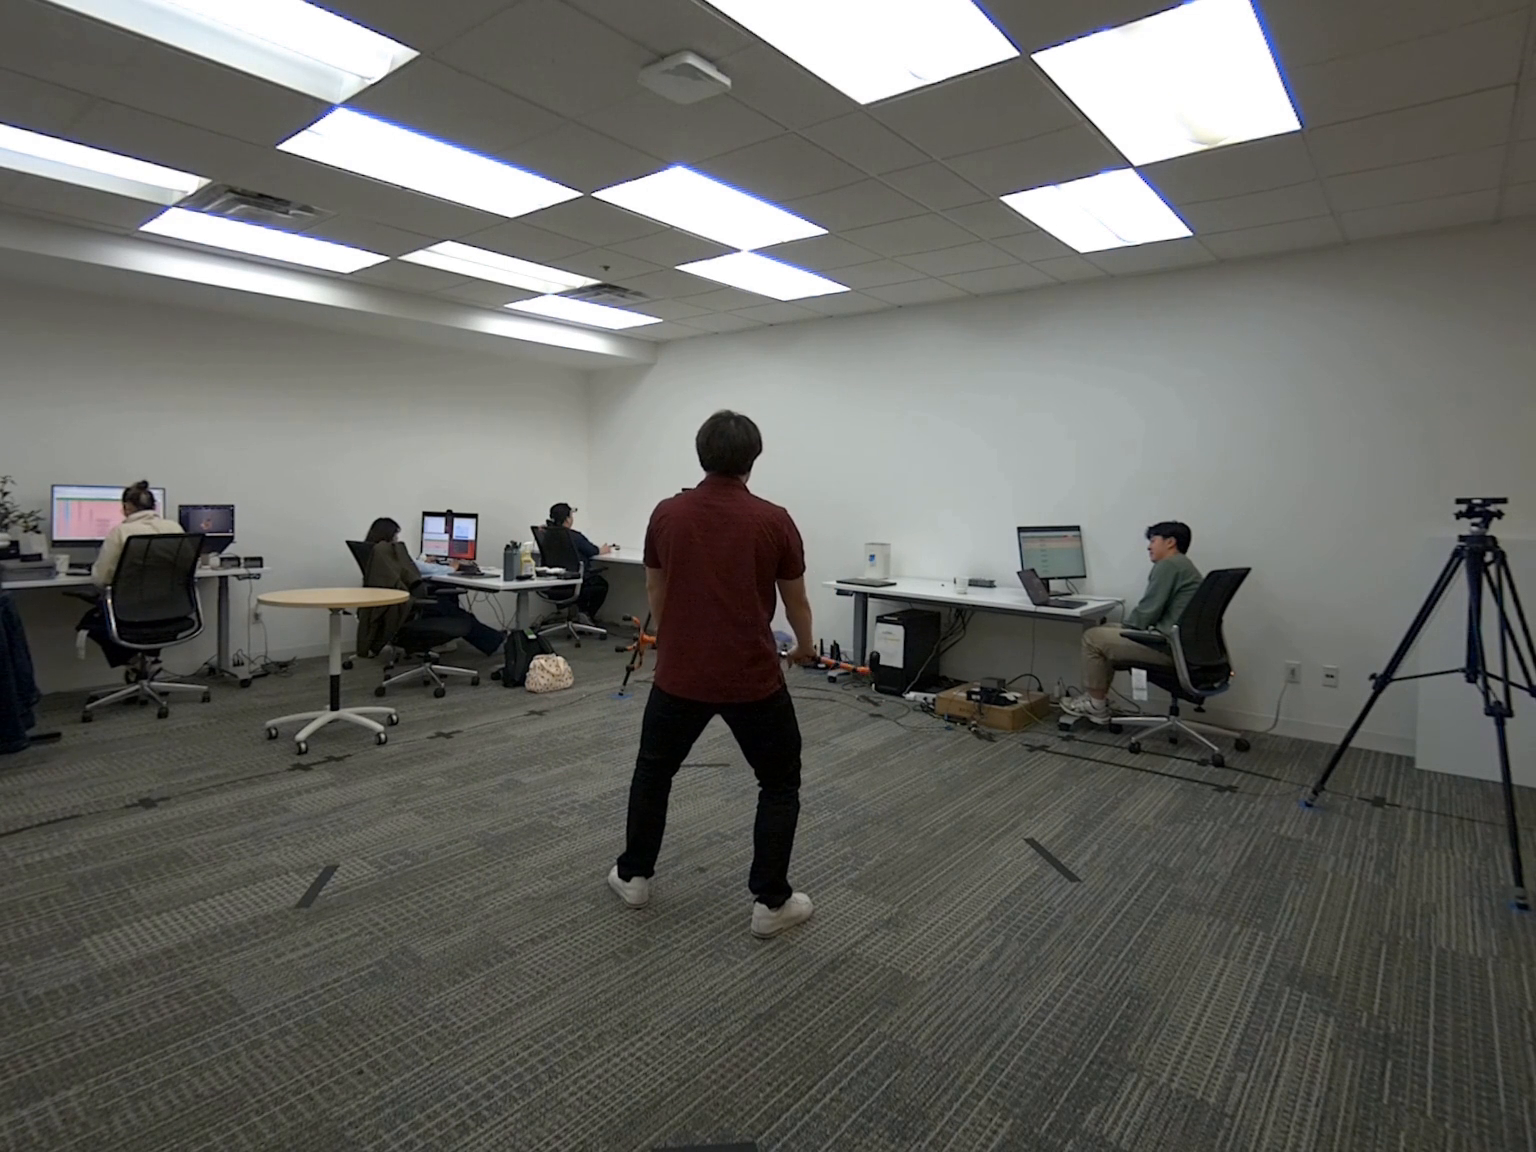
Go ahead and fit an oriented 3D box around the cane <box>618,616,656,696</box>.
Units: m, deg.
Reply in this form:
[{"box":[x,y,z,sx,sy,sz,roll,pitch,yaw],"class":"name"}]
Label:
[{"box":[-0.077,0.277,3.015,0.920,0.154,0.200,4,-33,11],"class":"cane"}]
